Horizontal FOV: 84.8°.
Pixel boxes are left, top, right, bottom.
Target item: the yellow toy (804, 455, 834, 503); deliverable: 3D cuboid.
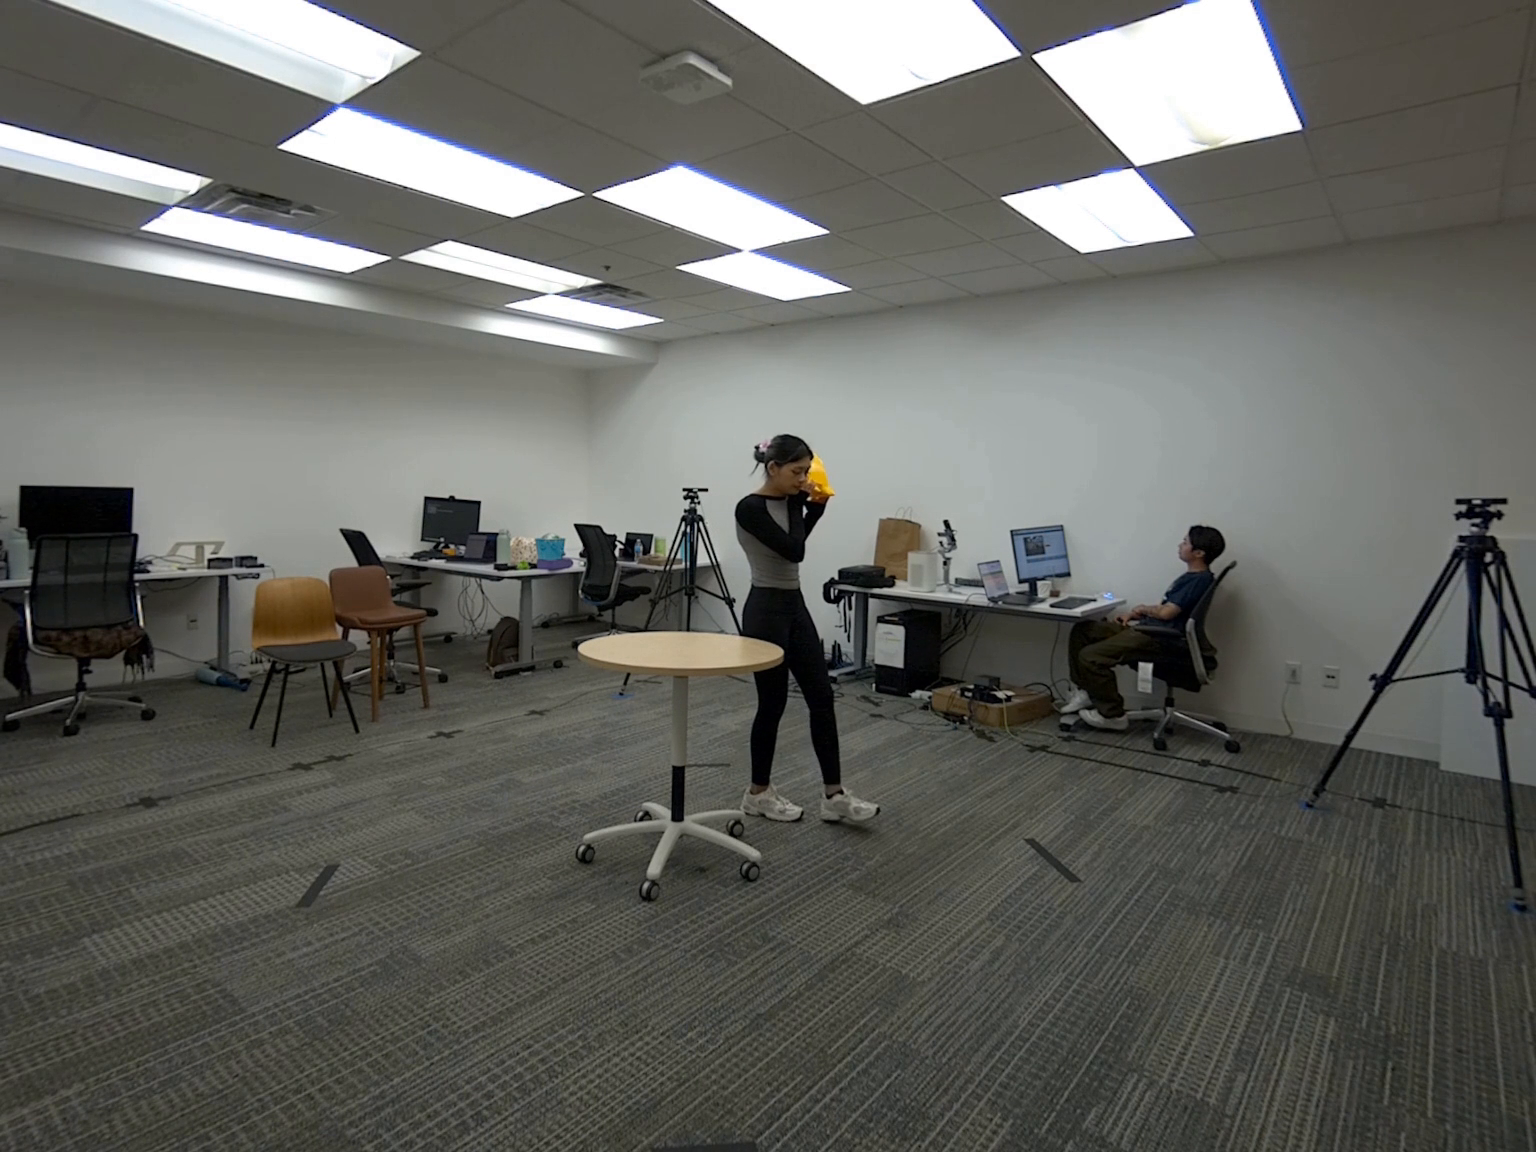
[{"bbox_3d":[0.178,-0.476,3.713,0.199,0.232,0.197,-2,-8,41],"label":"yellow toy"}]
